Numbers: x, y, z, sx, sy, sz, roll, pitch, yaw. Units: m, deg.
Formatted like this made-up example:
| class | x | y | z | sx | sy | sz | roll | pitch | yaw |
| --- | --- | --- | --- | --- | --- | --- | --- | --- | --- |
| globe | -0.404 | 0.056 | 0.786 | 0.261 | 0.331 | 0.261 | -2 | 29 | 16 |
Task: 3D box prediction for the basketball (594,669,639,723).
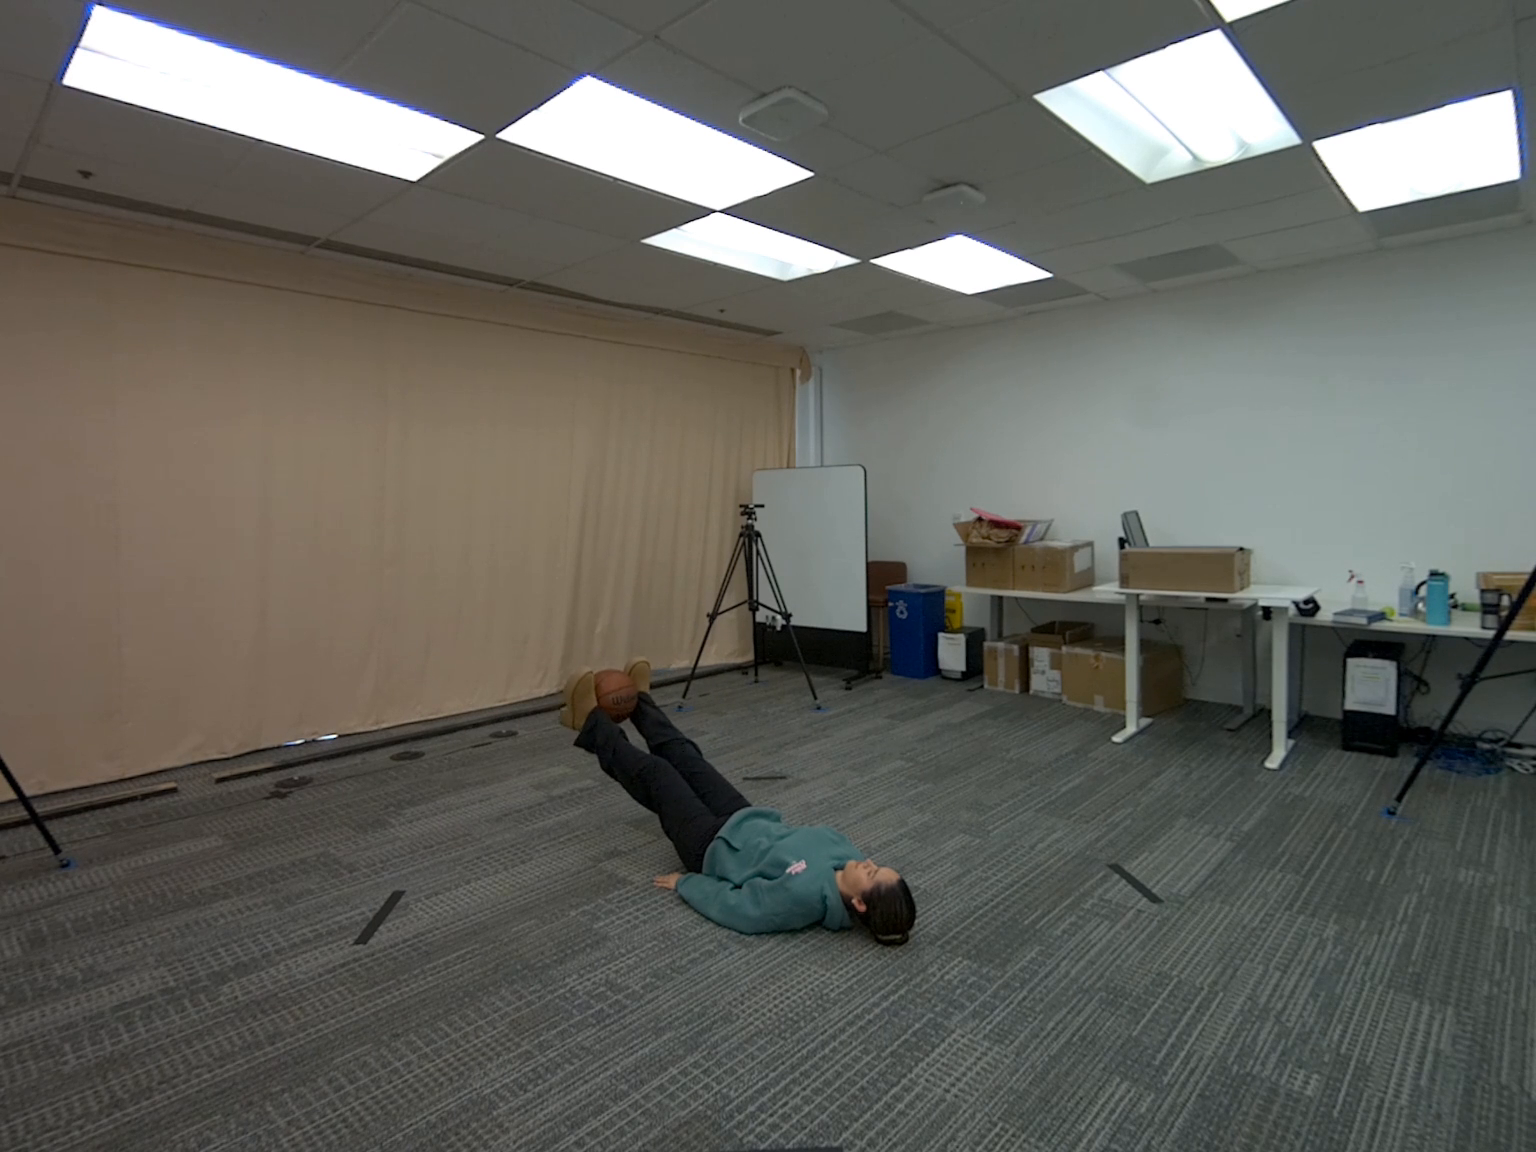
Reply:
| class | x | y | z | sx | sy | sz | roll | pitch | yaw |
| --- | --- | --- | --- | --- | --- | --- | --- | --- | --- |
| basketball | -0.677 | 0.515 | 3.589 | 0.236 | 0.235 | 0.237 | 0 | 4 | -2 |
